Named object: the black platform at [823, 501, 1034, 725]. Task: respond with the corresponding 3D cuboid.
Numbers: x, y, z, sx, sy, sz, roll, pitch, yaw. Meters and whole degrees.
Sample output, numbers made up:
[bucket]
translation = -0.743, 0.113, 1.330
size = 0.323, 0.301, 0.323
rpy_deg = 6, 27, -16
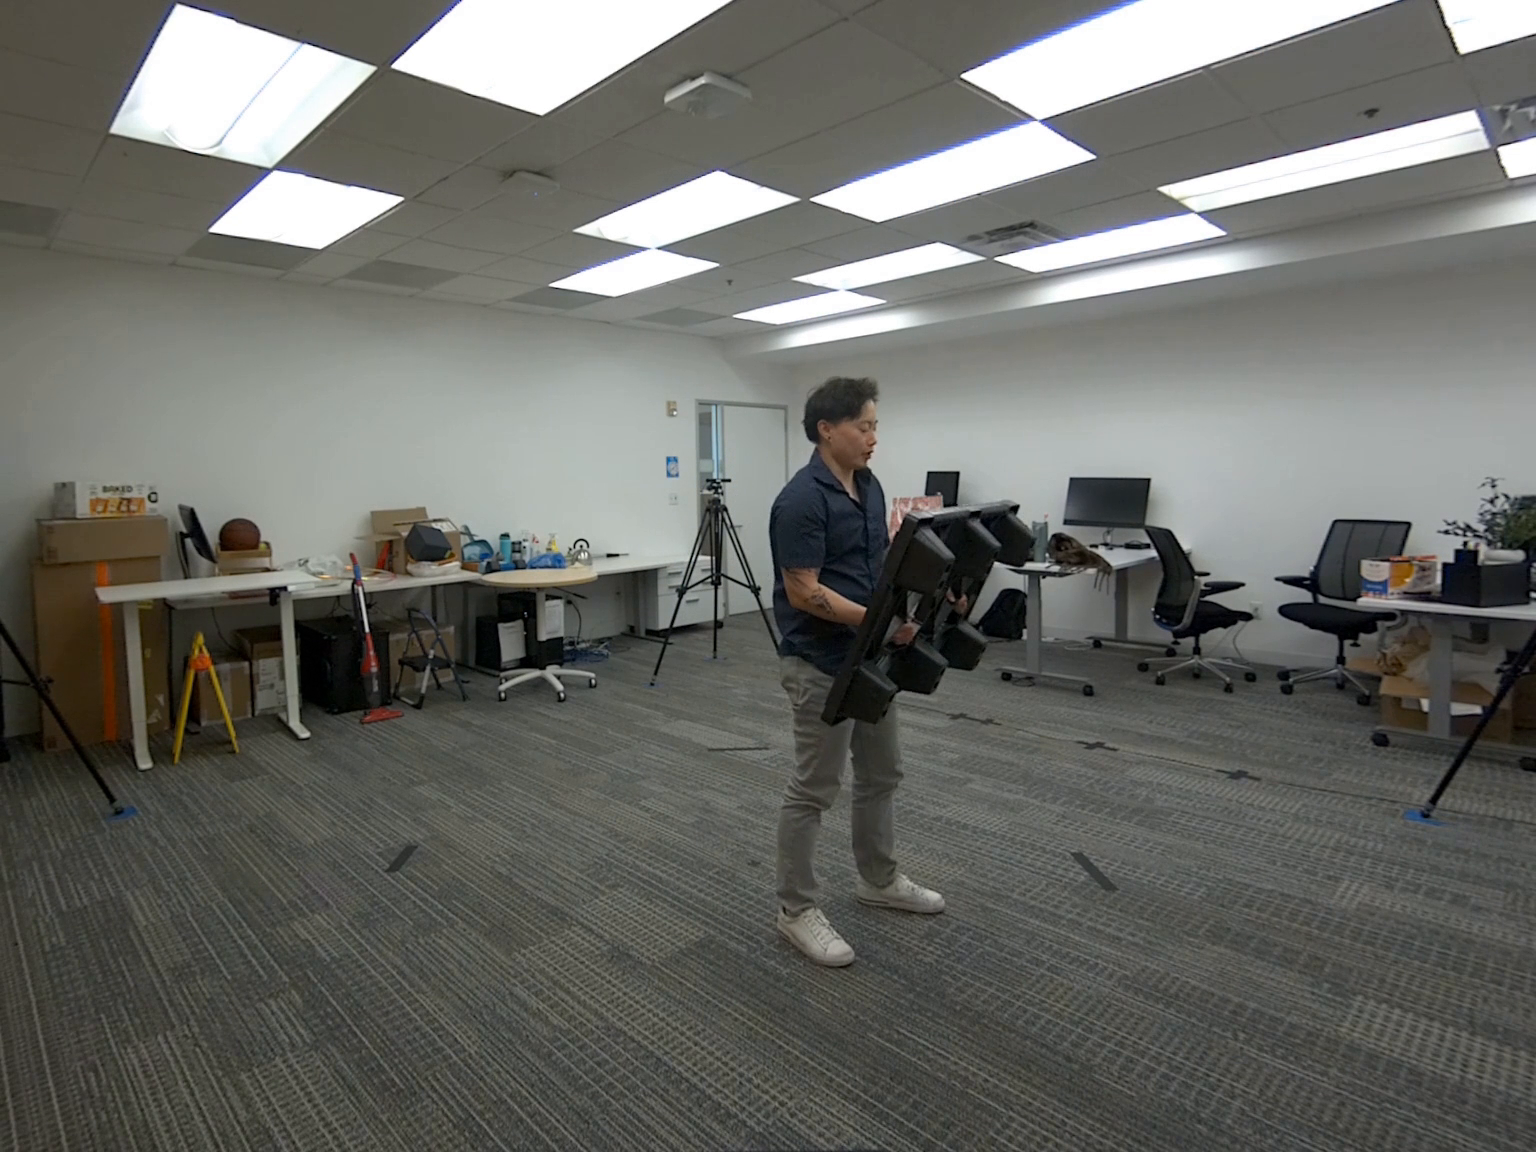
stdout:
[black platform]
translation = 0.502, 0.095, 2.409
size = 0.148, 0.599, 0.787
rpy_deg = 30, 21, 27
